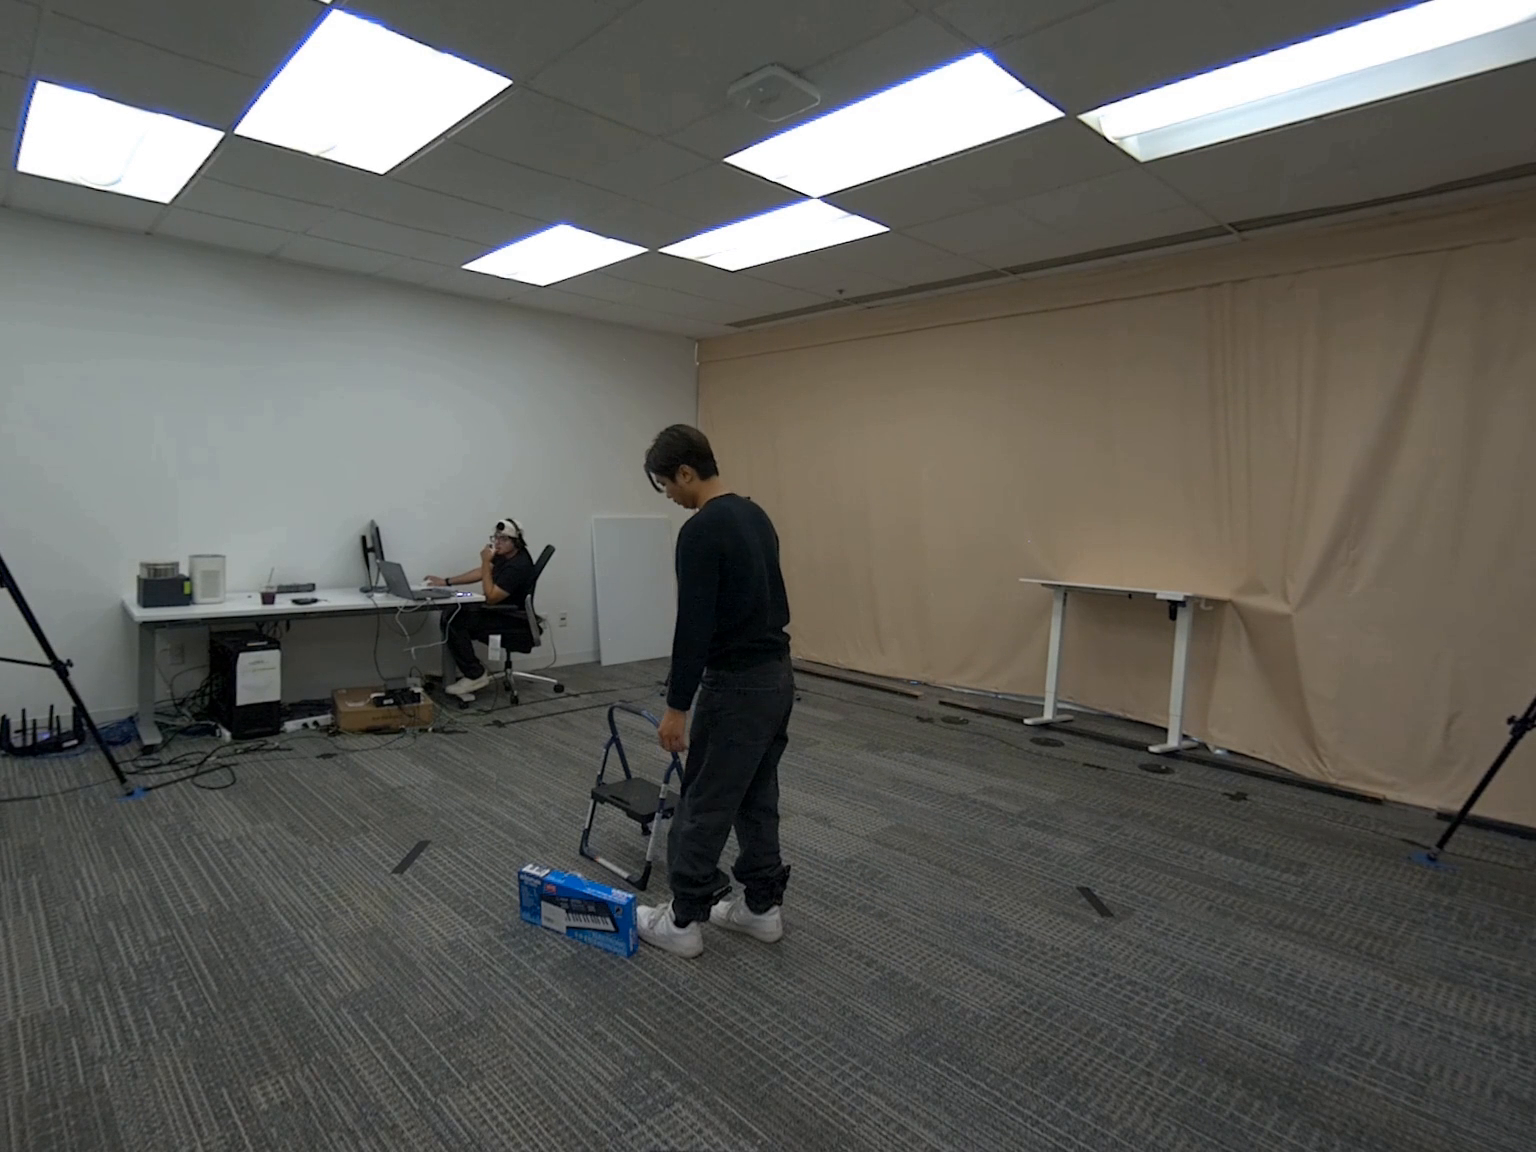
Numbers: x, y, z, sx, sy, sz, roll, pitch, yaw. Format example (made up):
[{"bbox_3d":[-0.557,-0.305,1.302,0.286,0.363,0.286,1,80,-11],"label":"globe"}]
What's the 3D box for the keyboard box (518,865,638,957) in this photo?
[{"bbox_3d":[-0.611,1.048,2.658,0.446,0.175,0.058,4,10,30],"label":"keyboard box"}]
